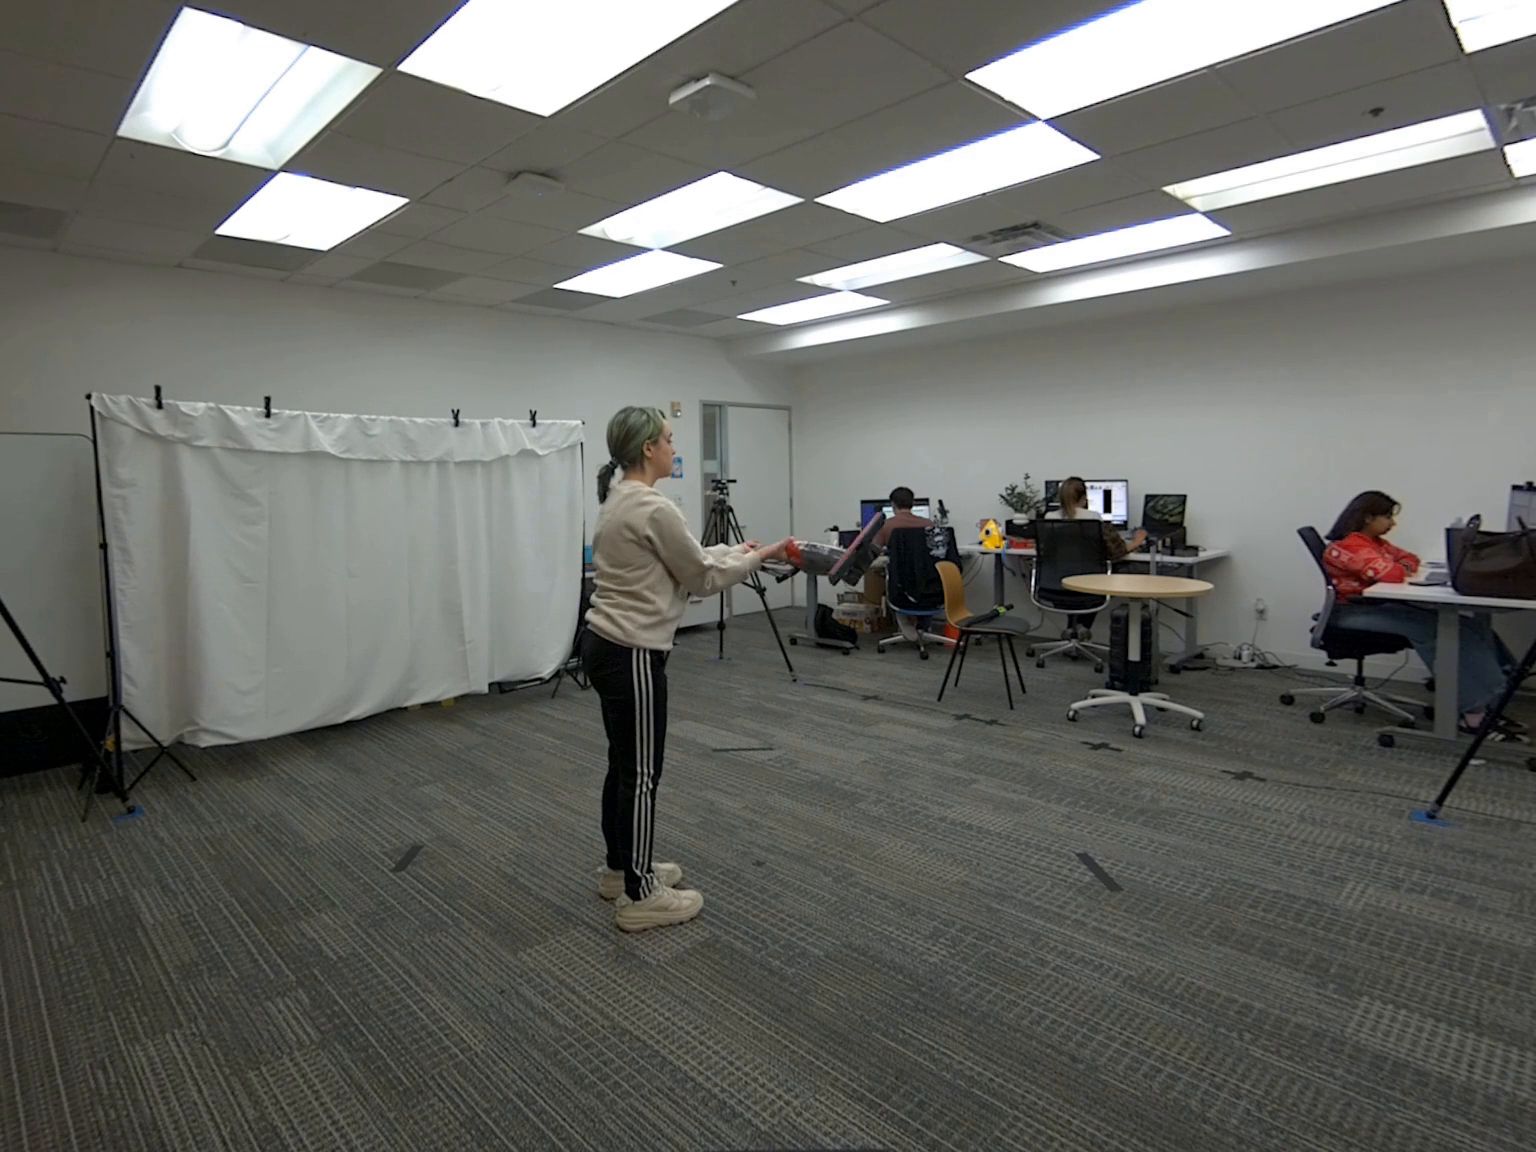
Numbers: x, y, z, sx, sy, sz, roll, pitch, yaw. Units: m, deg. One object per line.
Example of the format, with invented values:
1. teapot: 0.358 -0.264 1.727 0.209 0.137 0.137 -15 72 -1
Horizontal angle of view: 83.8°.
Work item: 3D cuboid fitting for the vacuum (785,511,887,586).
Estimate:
1. vacuum: 0.048 -0.052 2.907 0.252 0.141 1.070 -45 17 -17
